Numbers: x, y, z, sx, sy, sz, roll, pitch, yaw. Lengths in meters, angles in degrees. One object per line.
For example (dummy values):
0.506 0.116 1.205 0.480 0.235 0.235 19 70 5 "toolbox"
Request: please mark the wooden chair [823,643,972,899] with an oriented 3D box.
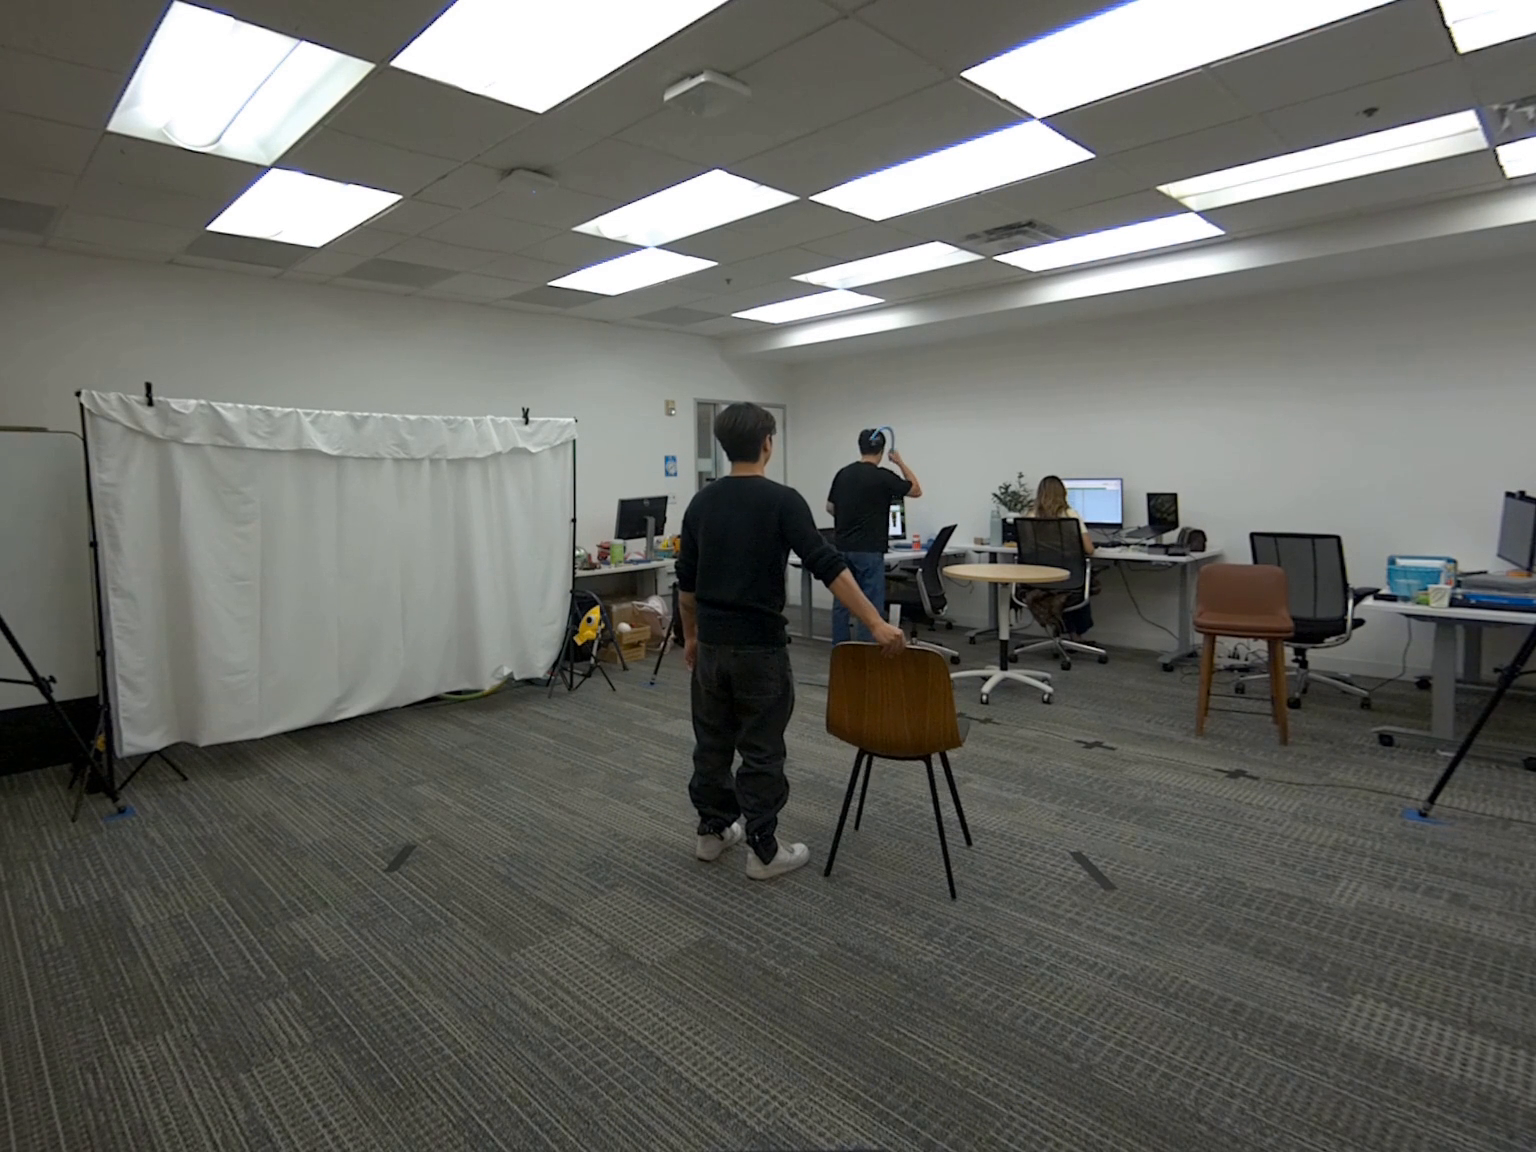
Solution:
0.473 0.607 3.076 0.488 0.871 0.516 1 9 21 "wooden chair"
